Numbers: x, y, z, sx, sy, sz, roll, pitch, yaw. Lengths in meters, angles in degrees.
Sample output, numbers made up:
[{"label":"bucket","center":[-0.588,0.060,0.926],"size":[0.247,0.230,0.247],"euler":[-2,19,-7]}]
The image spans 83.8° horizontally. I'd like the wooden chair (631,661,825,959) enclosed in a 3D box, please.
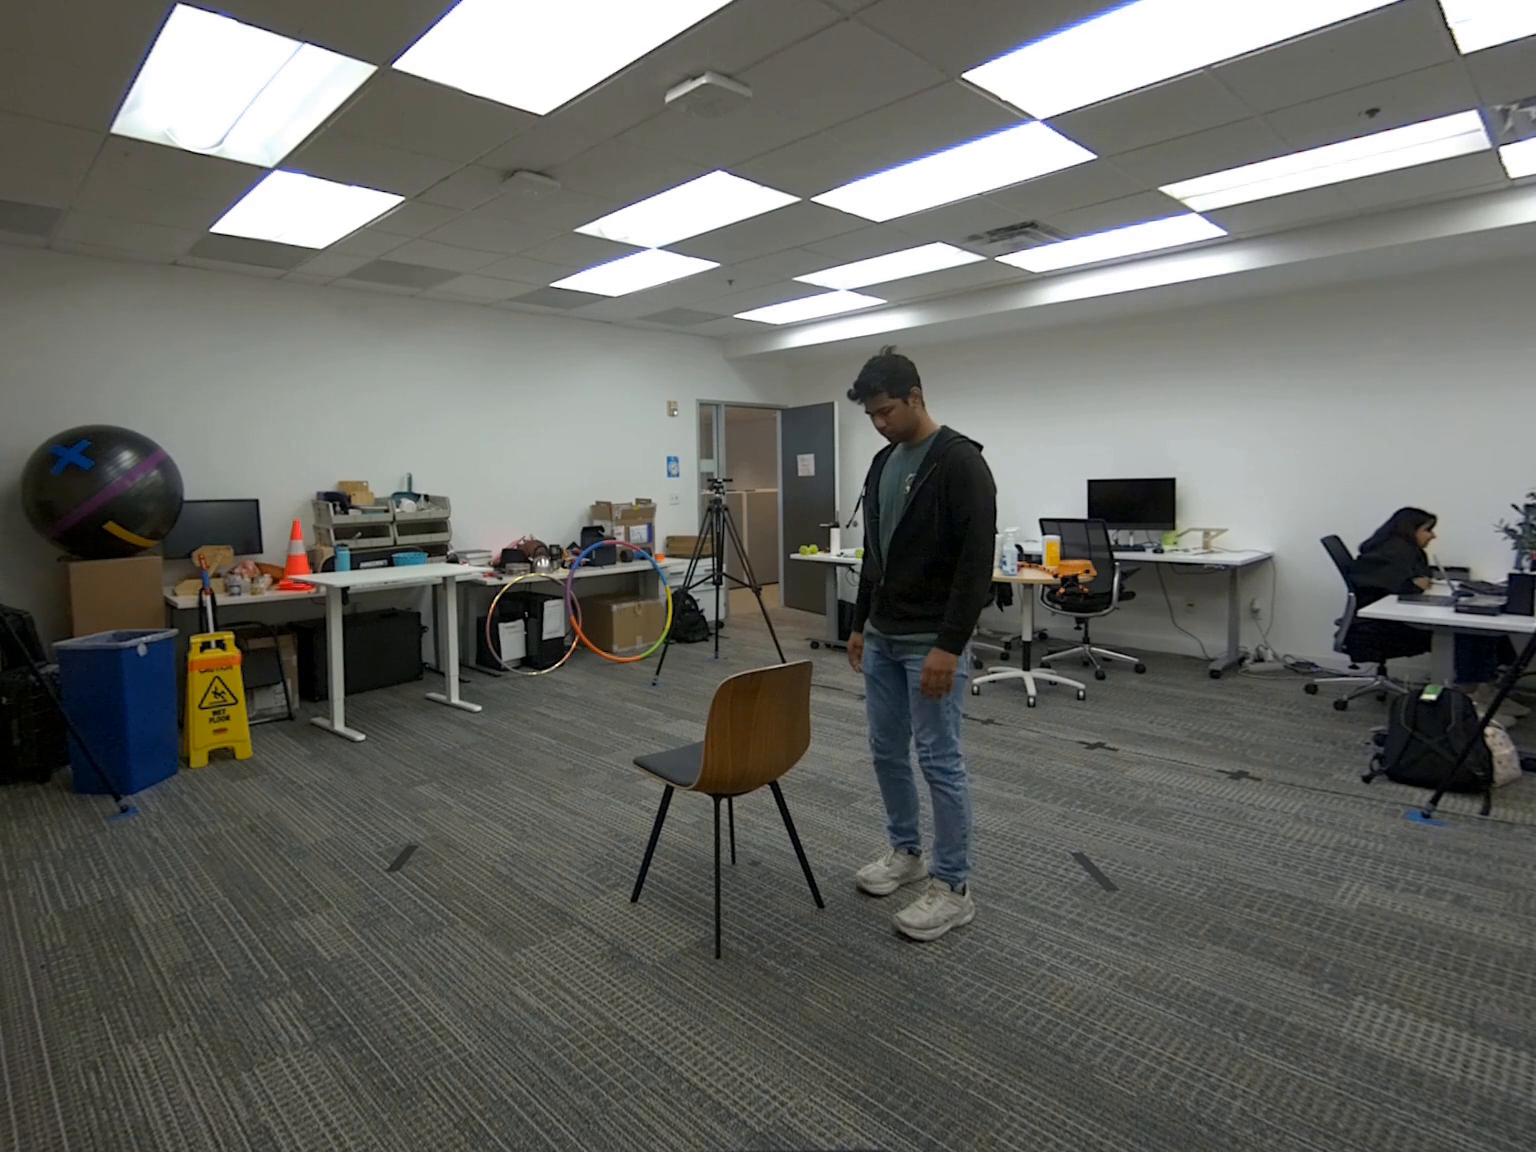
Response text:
[{"label":"wooden chair","center":[-0.141,0.657,2.774],"size":[0.465,0.871,0.541],"euler":[-5,11,-41]}]
